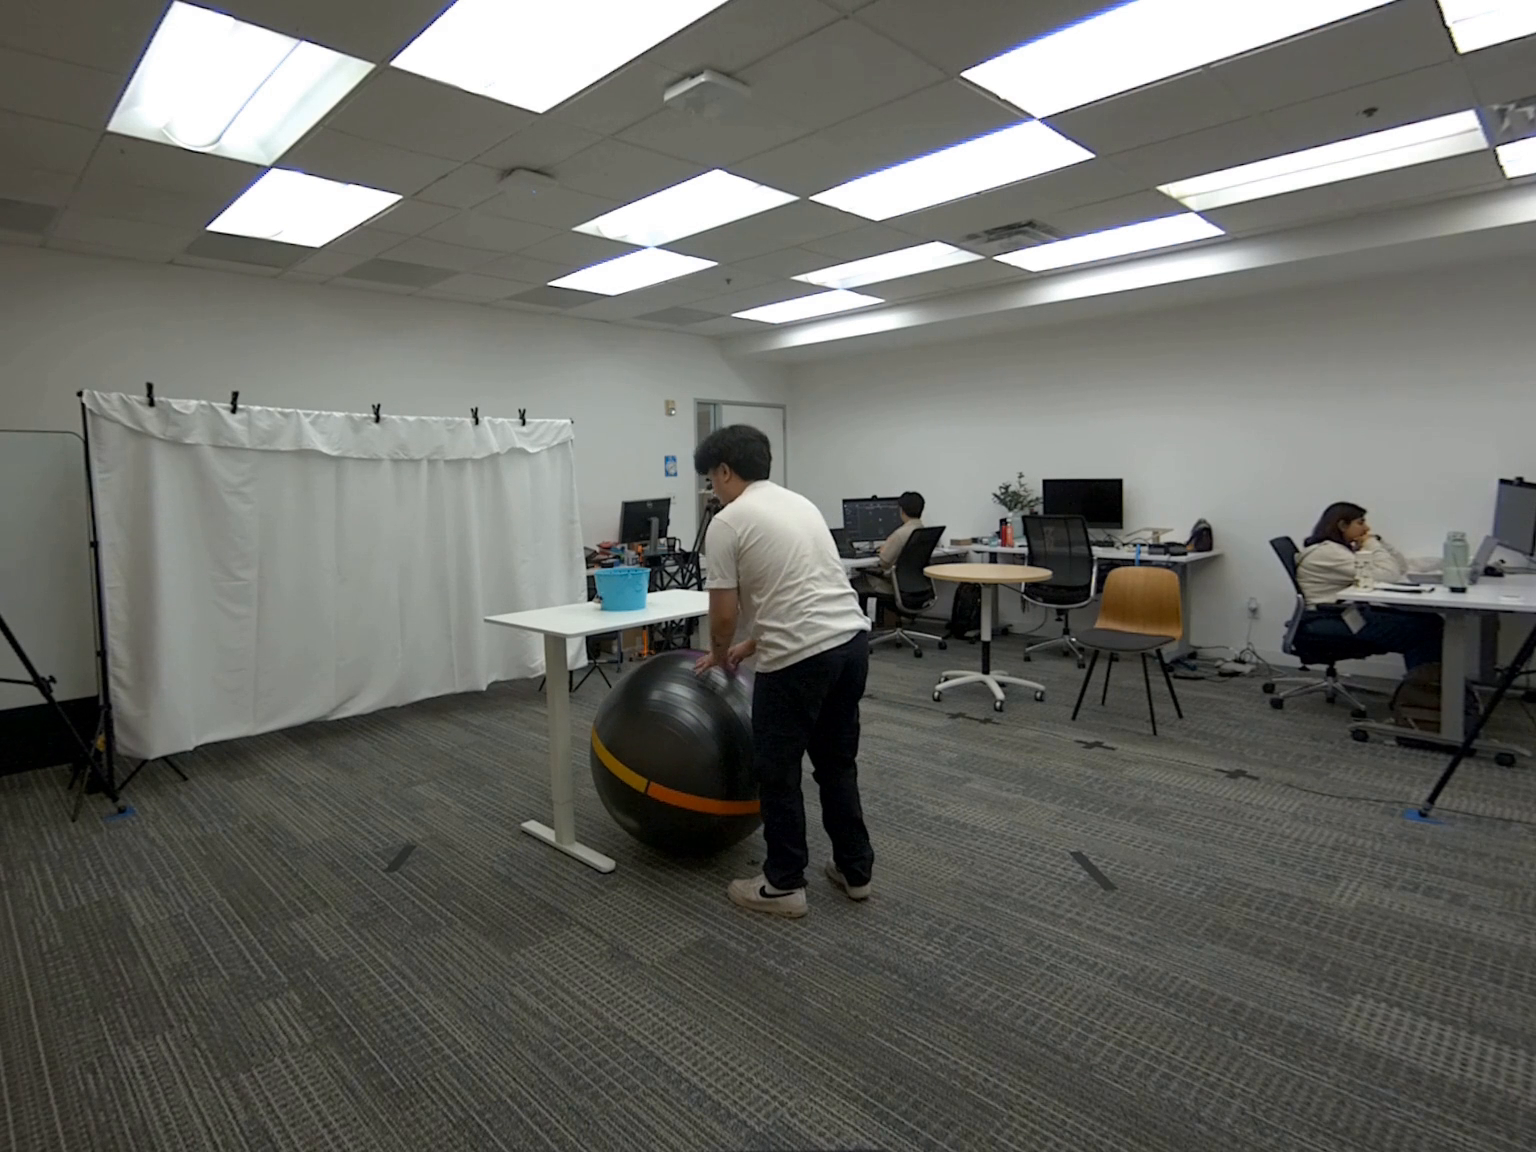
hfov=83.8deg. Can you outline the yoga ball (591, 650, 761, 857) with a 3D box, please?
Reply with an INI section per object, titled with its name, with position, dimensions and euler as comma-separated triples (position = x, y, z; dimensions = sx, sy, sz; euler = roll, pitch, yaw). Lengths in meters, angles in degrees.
[yoga ball]
position = -0.297, 0.665, 3.248
dimensions = 0.757, 0.755, 0.762
euler = -1, 5, -2
